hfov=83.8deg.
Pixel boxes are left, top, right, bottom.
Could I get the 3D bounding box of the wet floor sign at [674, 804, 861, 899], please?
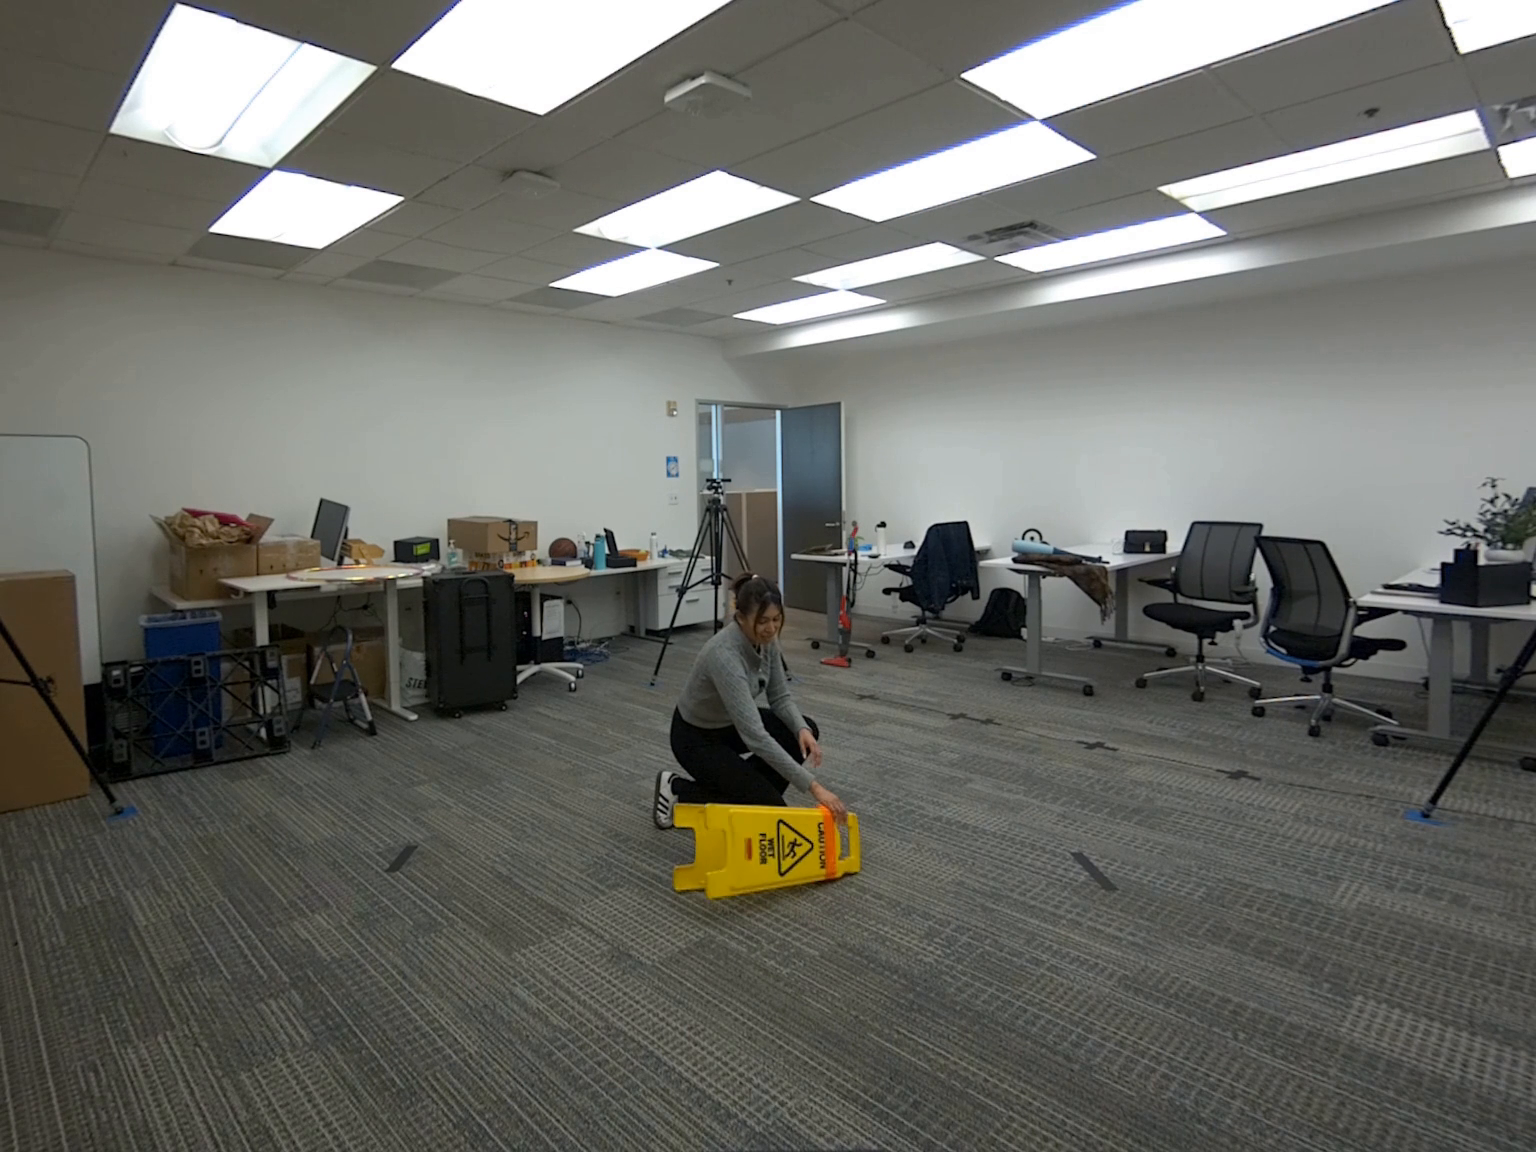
[{"bbox_3d":[0.037,0.925,2.917,0.632,0.286,0.292,5,-17,-23],"label":"wet floor sign"}]
